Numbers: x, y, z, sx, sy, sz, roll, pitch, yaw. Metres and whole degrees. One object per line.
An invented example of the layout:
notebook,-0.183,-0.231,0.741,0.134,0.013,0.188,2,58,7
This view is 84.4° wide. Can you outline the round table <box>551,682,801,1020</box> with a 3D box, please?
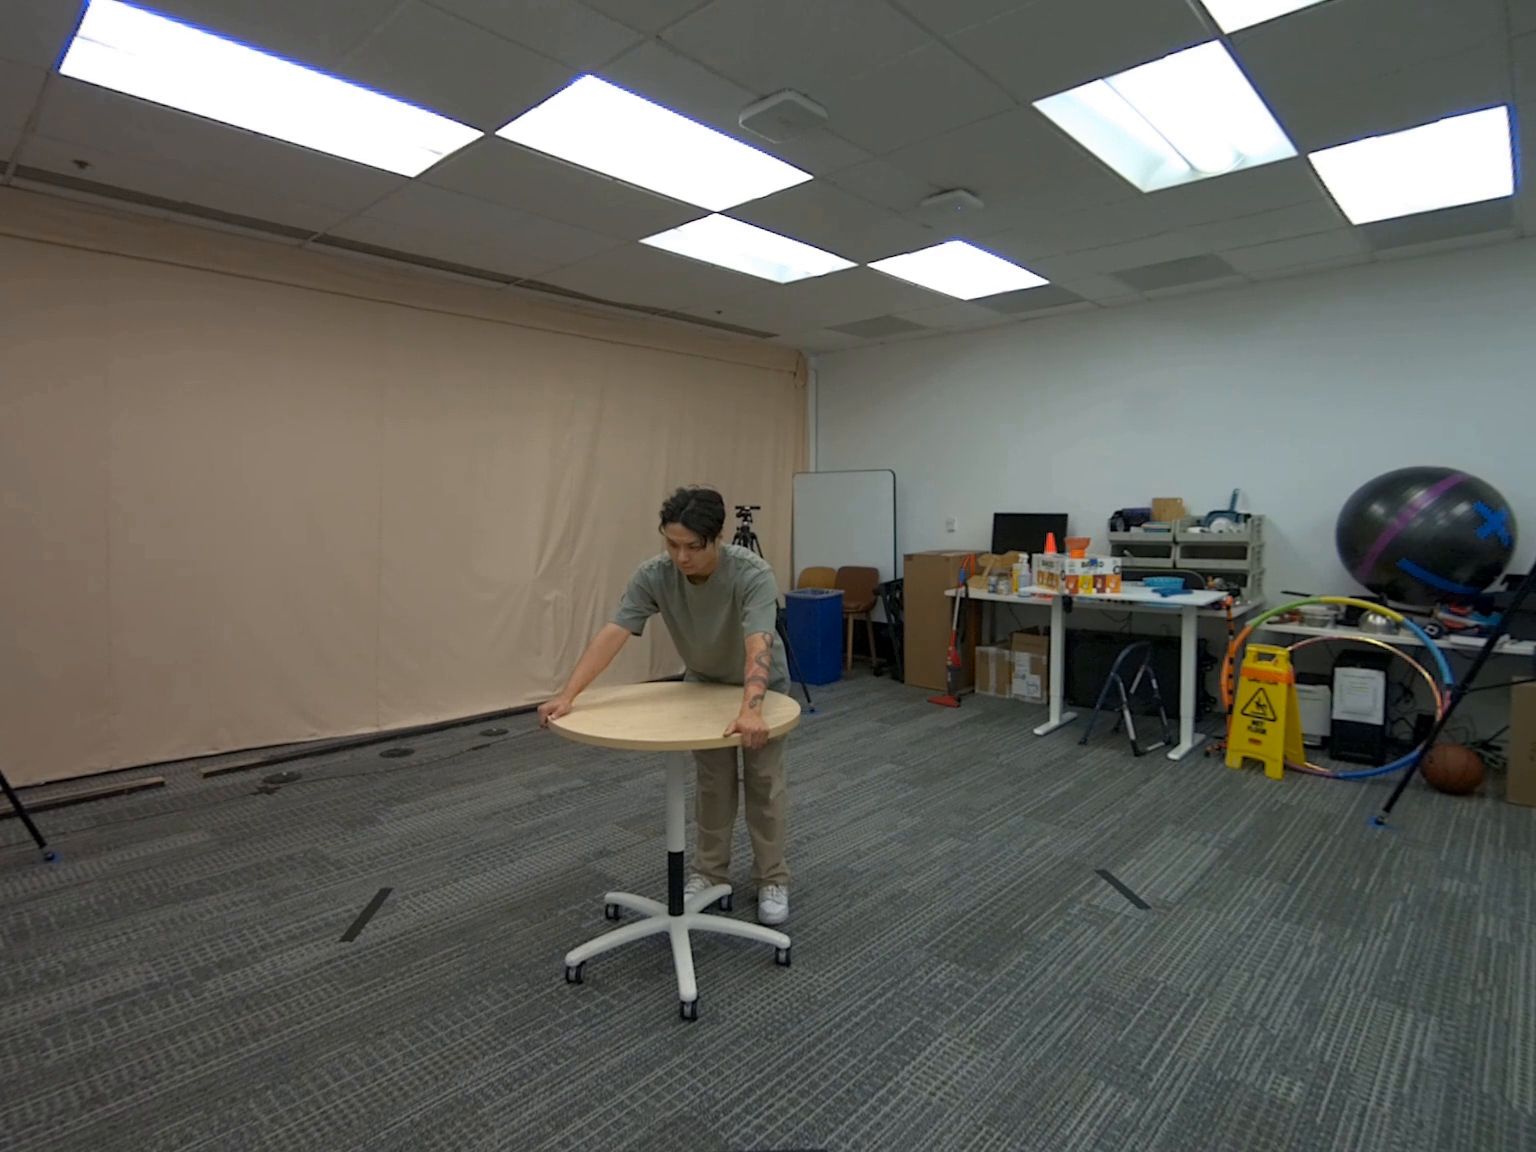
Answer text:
round table,-0.271,0.788,2.572,0.784,0.784,0.788,-1,4,-2
